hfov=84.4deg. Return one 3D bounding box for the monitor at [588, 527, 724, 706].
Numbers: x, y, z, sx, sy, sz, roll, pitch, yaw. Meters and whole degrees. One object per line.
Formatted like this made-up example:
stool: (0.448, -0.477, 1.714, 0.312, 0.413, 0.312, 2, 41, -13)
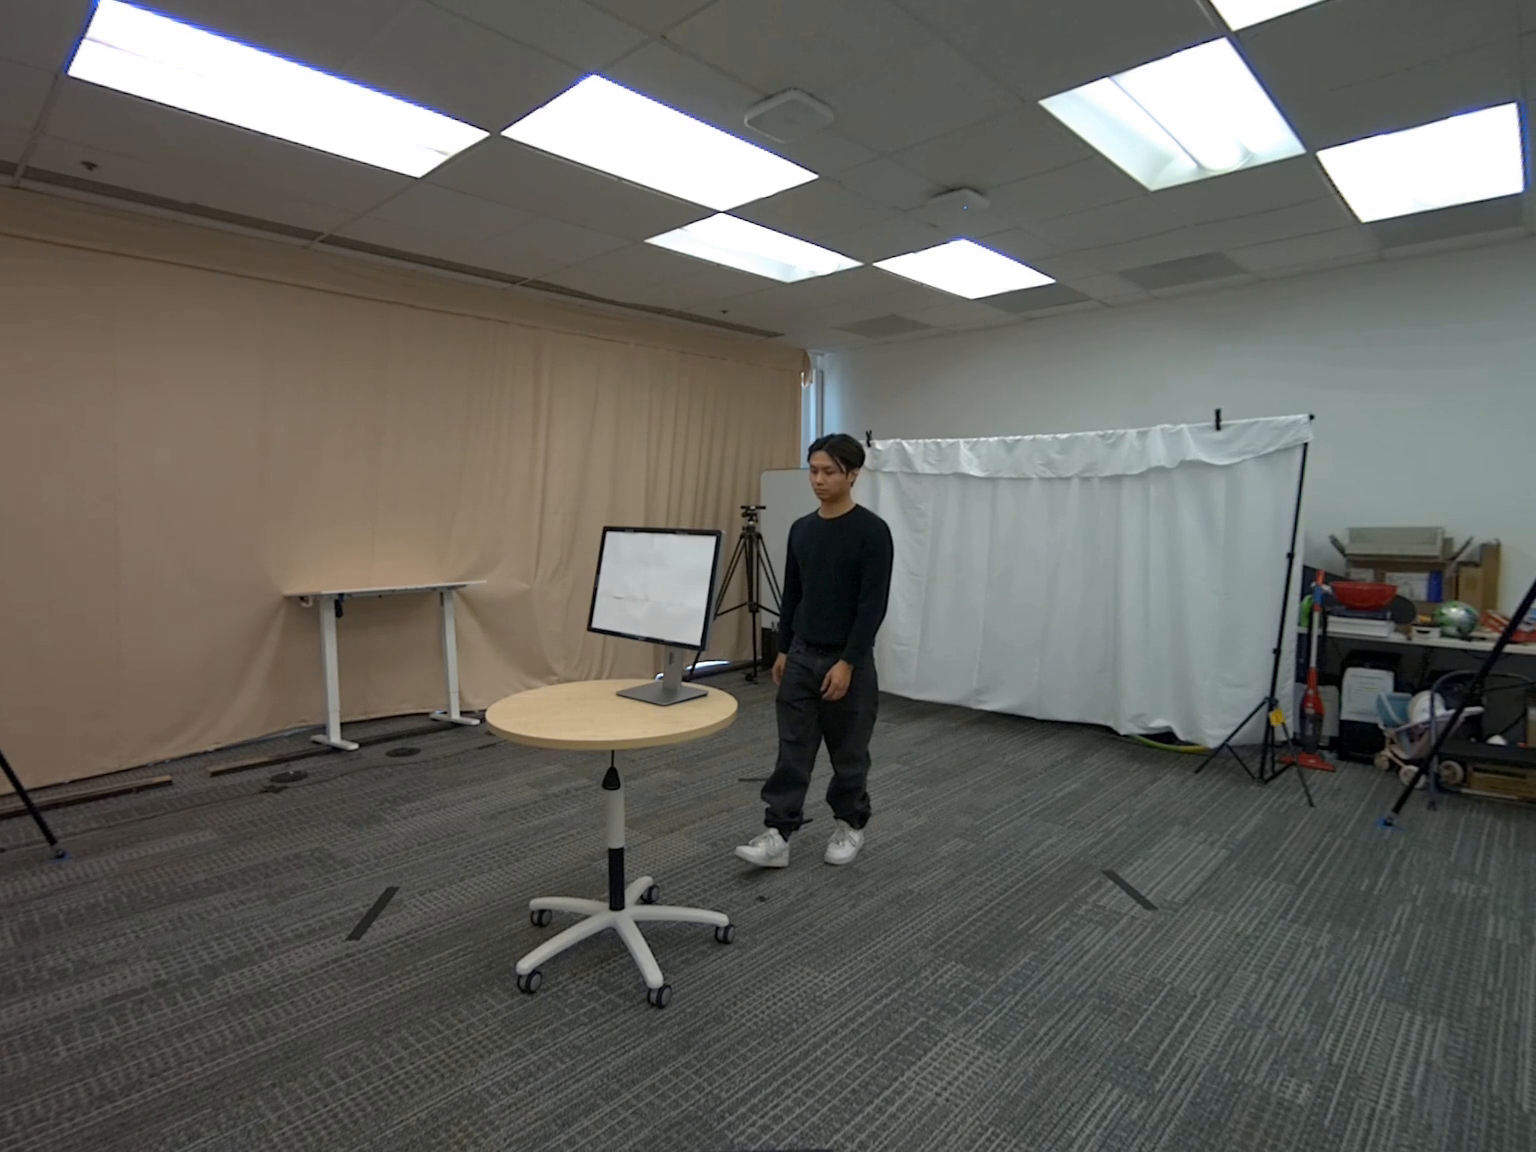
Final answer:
monitor: (-0.339, 0.123, 2.710, 0.557, 0.521, 0.181, 4, 5, 40)
